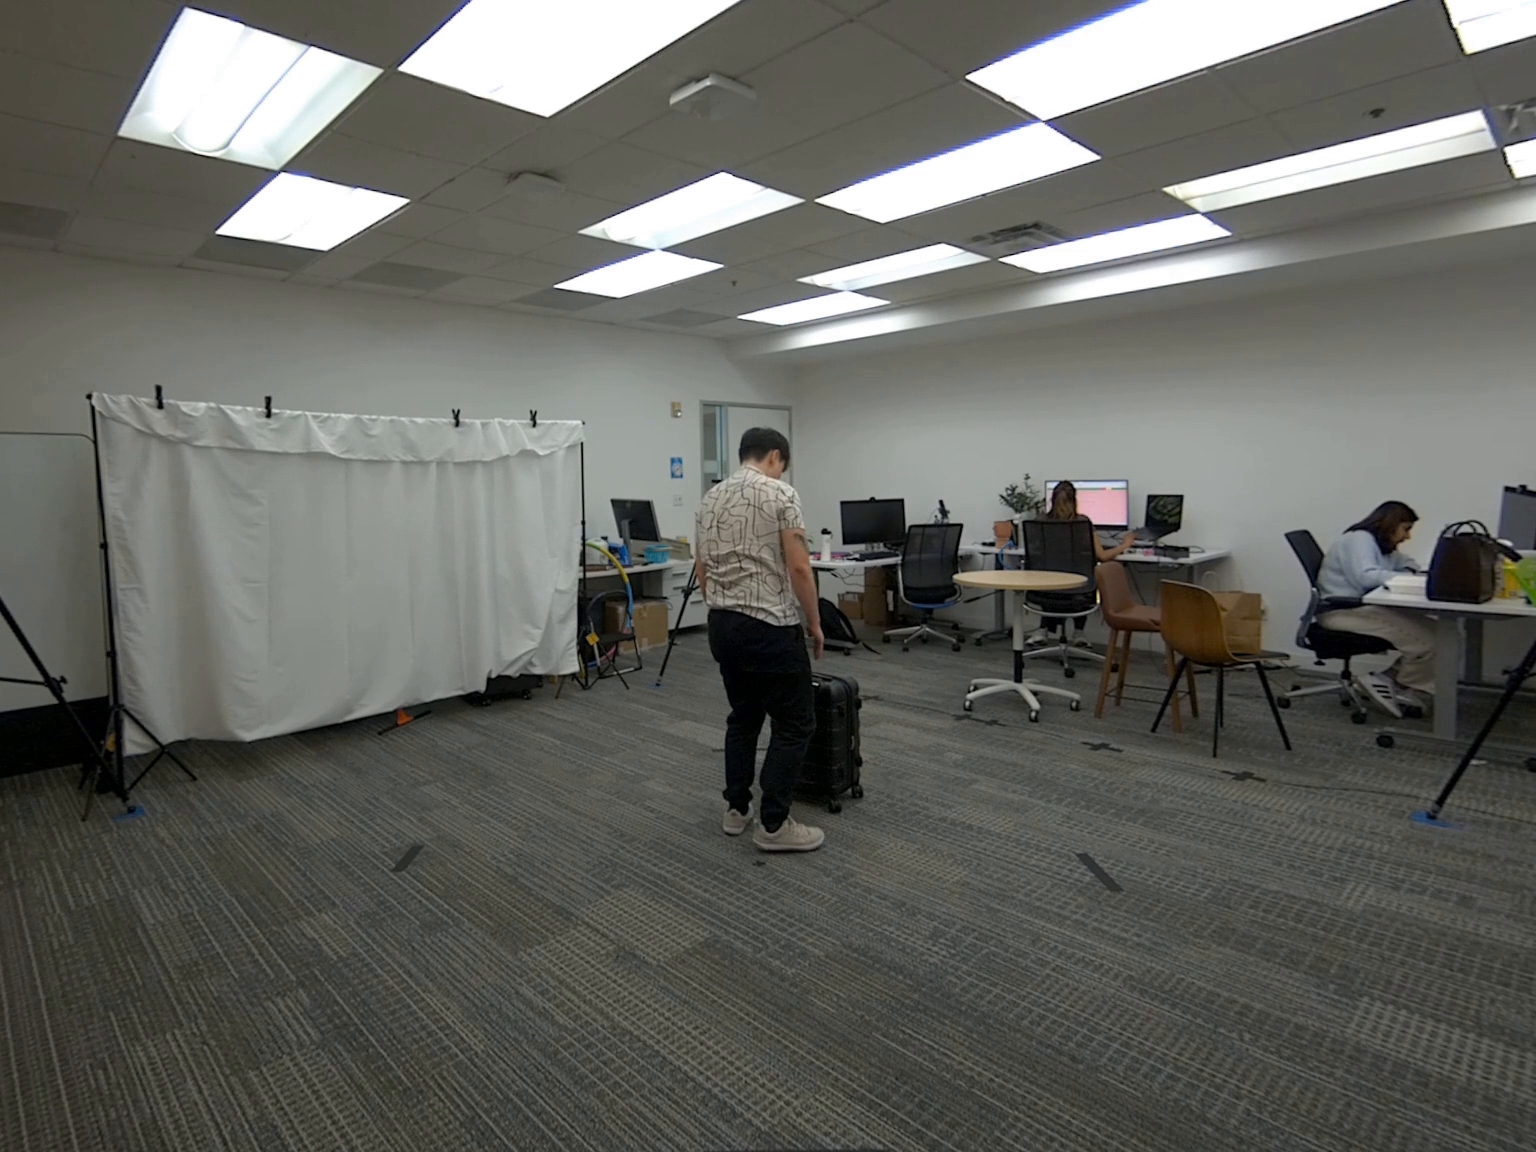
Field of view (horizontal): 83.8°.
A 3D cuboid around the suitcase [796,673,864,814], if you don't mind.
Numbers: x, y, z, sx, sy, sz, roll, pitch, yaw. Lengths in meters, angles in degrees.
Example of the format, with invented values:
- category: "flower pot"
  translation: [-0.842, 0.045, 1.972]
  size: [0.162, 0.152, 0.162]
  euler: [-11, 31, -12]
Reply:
- category: "suitcase"
  translation: [0.209, 0.695, 3.759]
  size: [0.386, 0.548, 0.242]
  euler: [2, 3, 36]
